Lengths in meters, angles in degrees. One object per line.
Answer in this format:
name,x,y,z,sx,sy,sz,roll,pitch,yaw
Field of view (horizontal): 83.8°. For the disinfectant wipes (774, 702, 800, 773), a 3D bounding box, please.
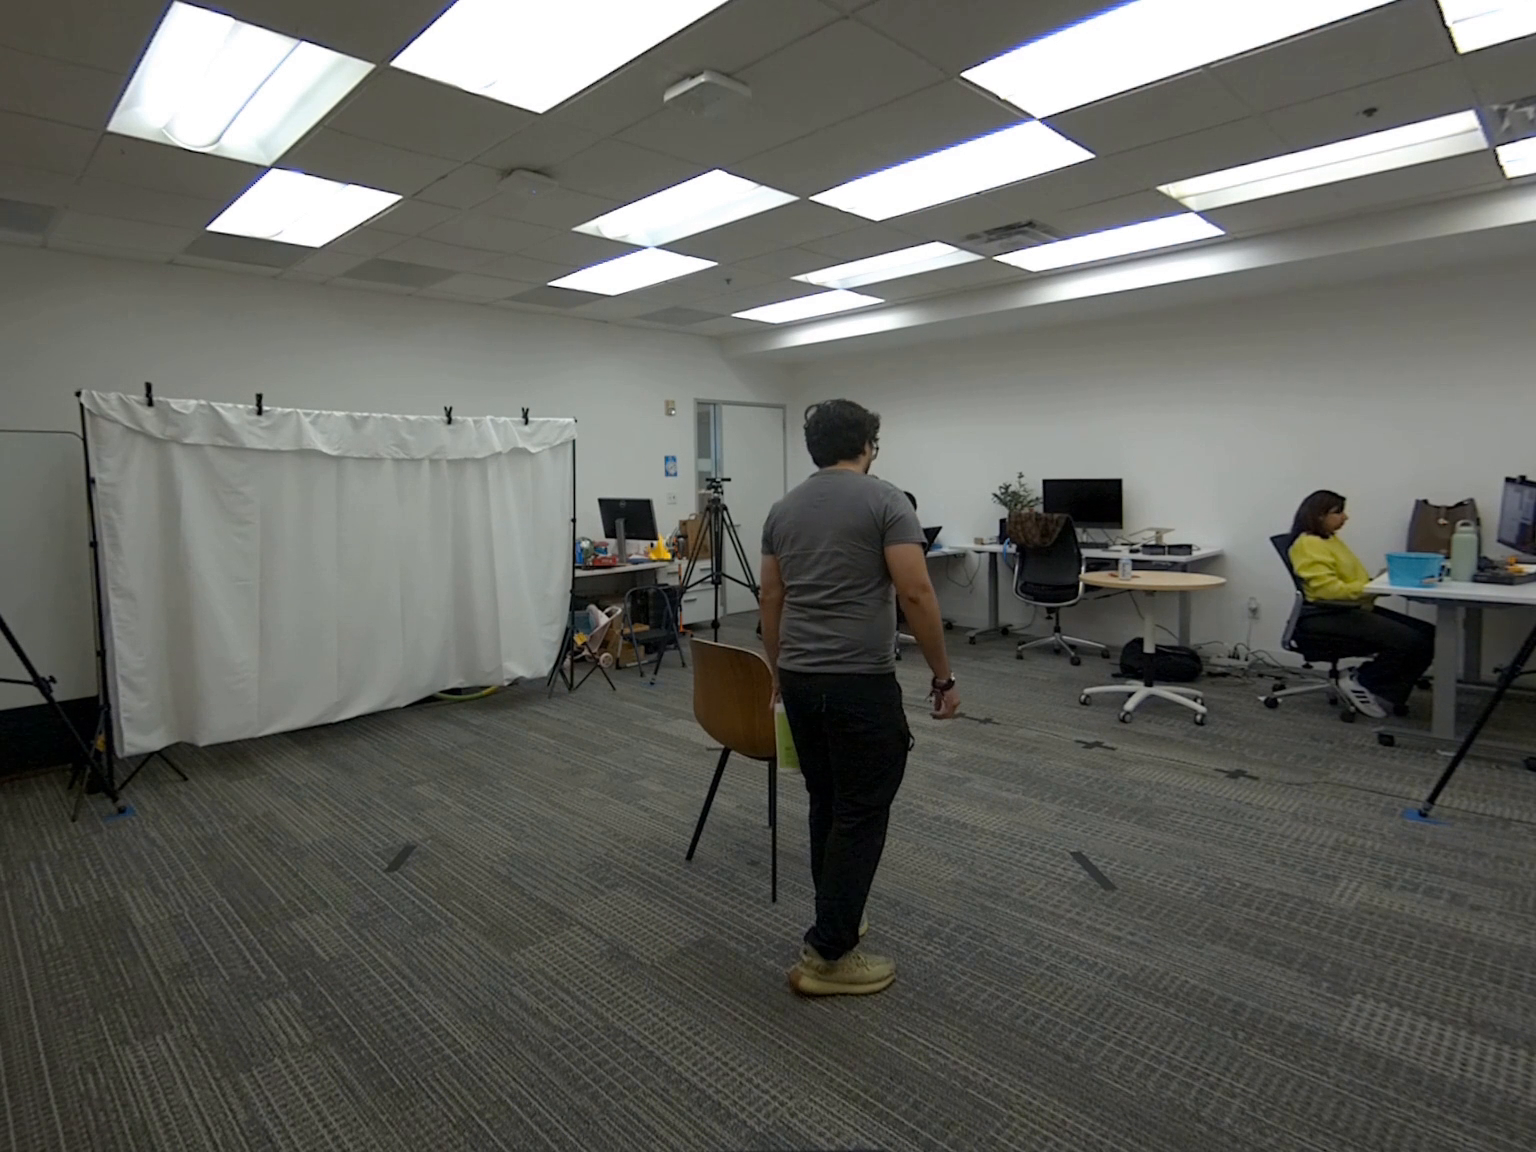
disinfectant wipes,0.081,0.506,2.675,0.118,0.218,0.117,-4,-2,-2
